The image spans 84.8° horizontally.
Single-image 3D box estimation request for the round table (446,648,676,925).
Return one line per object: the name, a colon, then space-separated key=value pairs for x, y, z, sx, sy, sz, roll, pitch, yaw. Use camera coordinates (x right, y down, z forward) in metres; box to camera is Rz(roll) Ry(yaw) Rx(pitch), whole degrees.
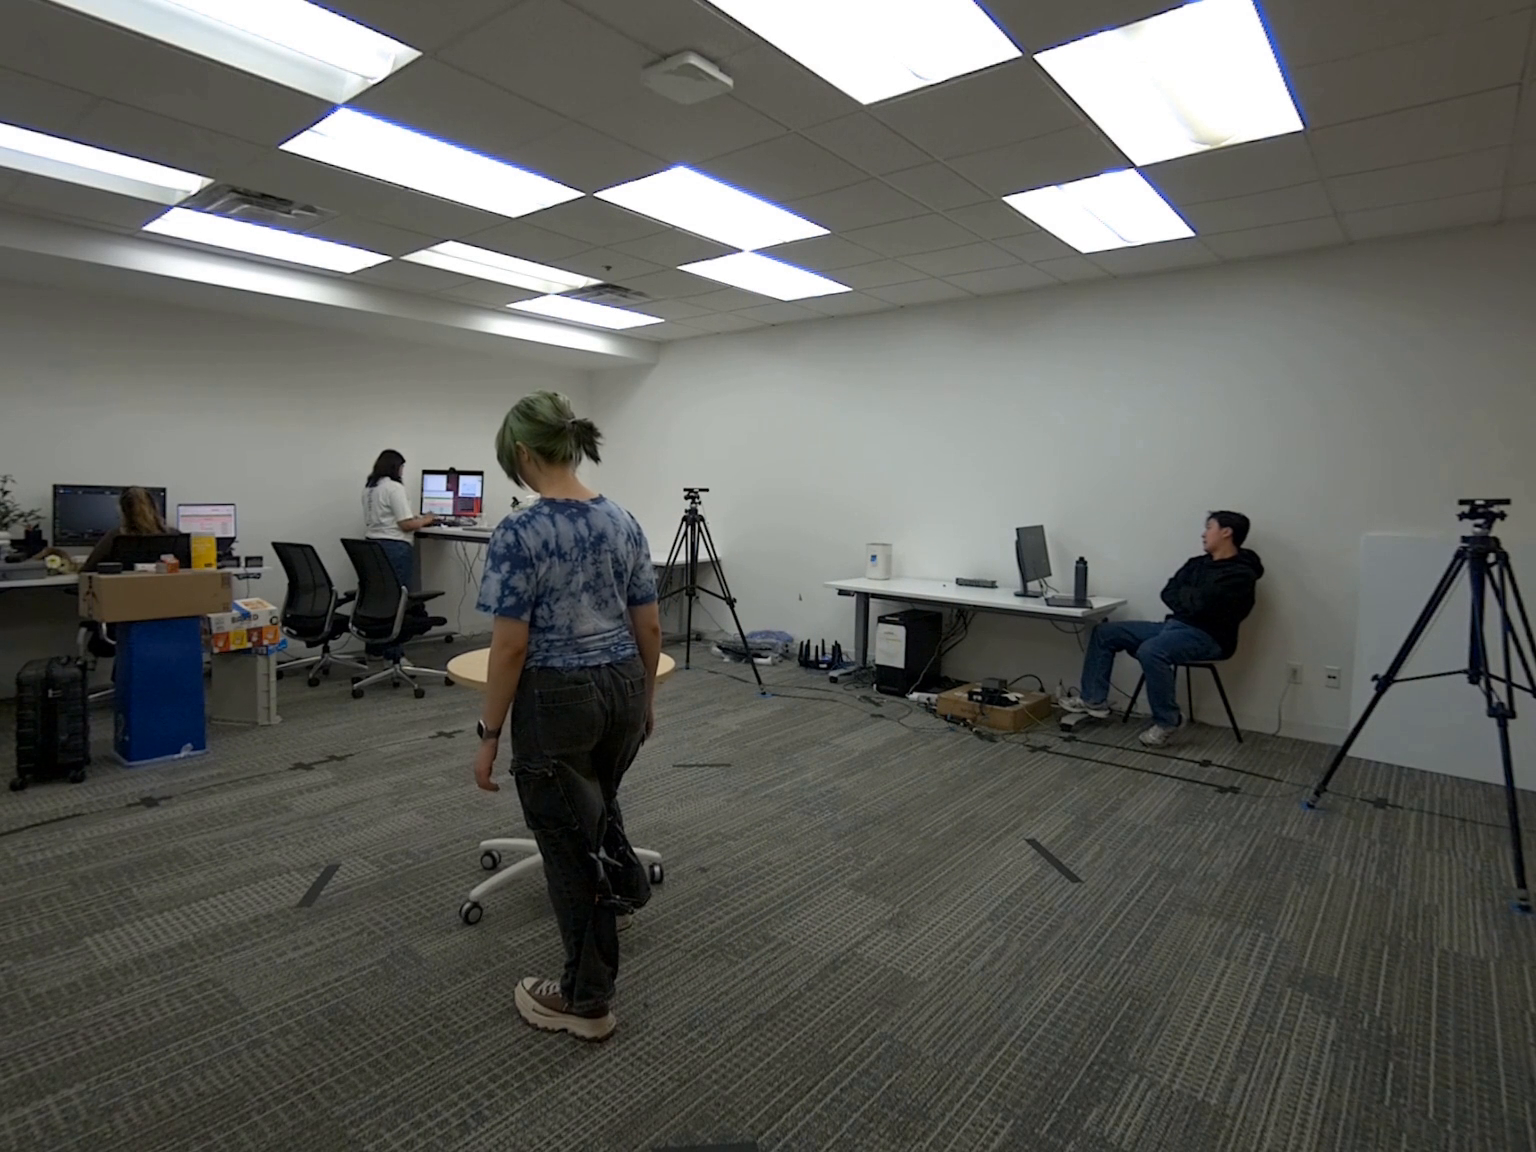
round table: x=-0.721 y=0.686 z=2.936 sx=0.763 sy=0.791 sz=0.768 roll=1 pitch=4 yaw=-2
